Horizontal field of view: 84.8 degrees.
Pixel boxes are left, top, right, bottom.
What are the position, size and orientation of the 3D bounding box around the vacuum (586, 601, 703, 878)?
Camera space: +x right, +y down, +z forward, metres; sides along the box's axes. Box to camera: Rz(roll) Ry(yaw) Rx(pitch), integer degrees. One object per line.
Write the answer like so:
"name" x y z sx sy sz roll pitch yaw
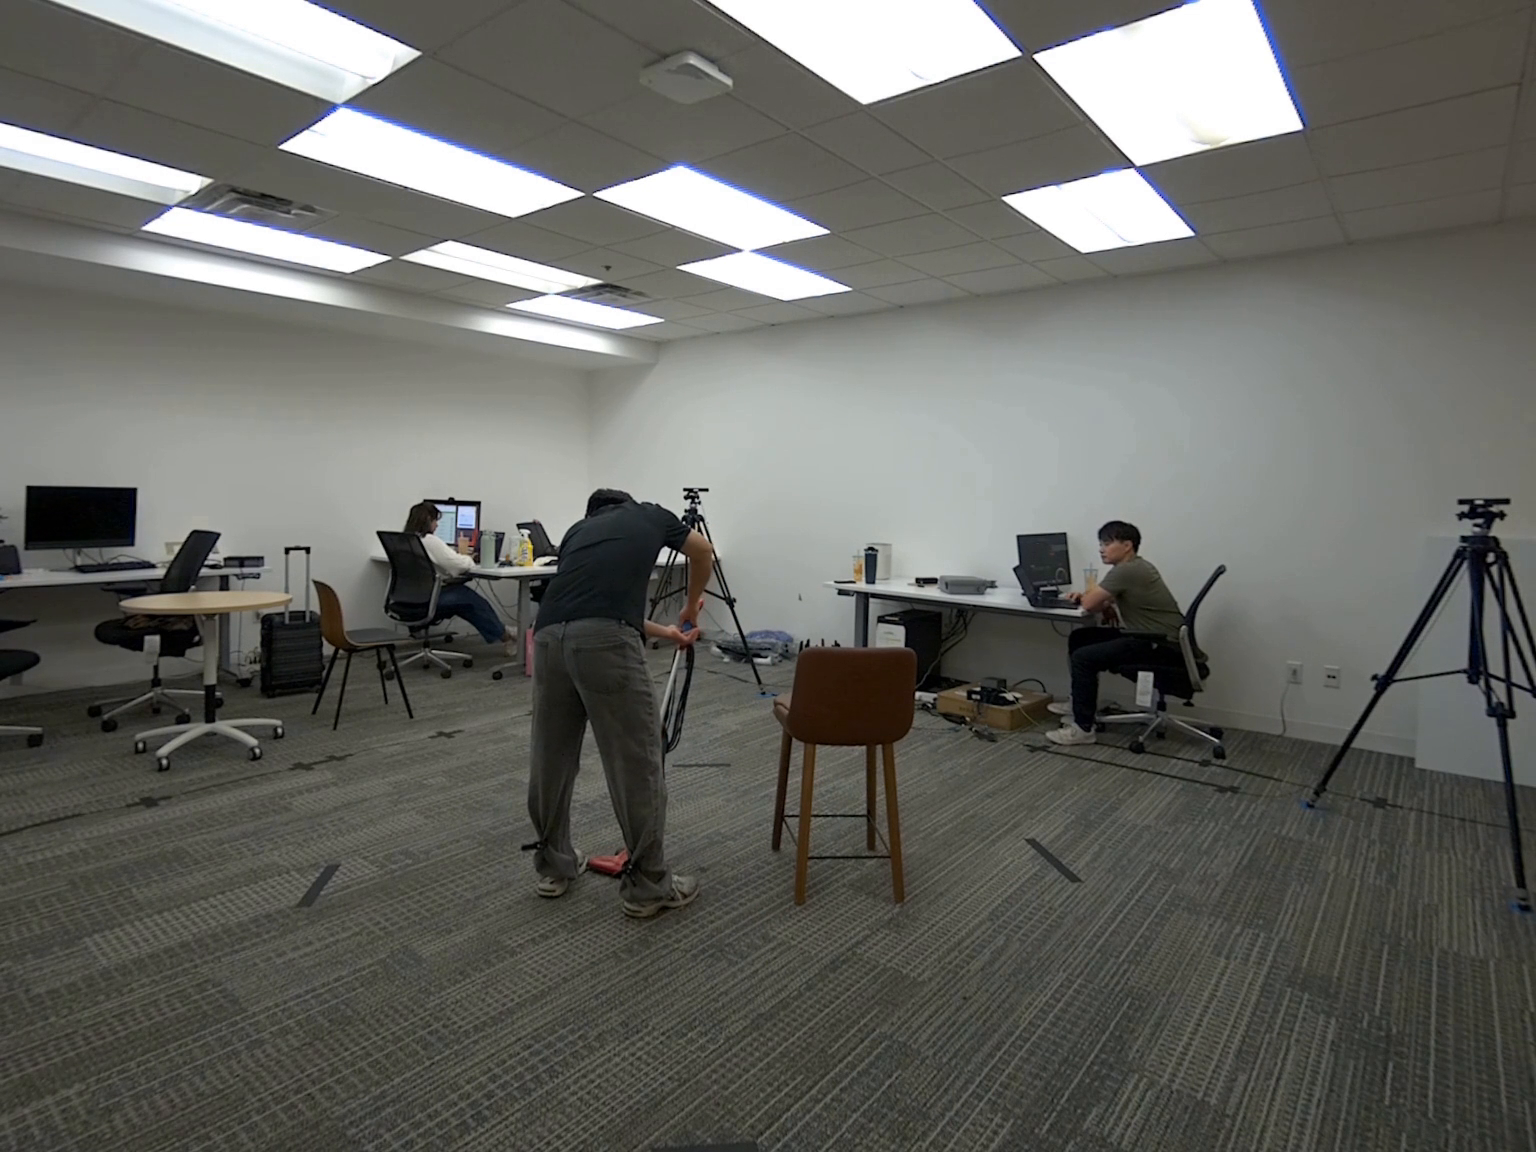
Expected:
"vacuum" -0.407 0.591 3.285 0.259 1.064 0.138 4 -25 23
